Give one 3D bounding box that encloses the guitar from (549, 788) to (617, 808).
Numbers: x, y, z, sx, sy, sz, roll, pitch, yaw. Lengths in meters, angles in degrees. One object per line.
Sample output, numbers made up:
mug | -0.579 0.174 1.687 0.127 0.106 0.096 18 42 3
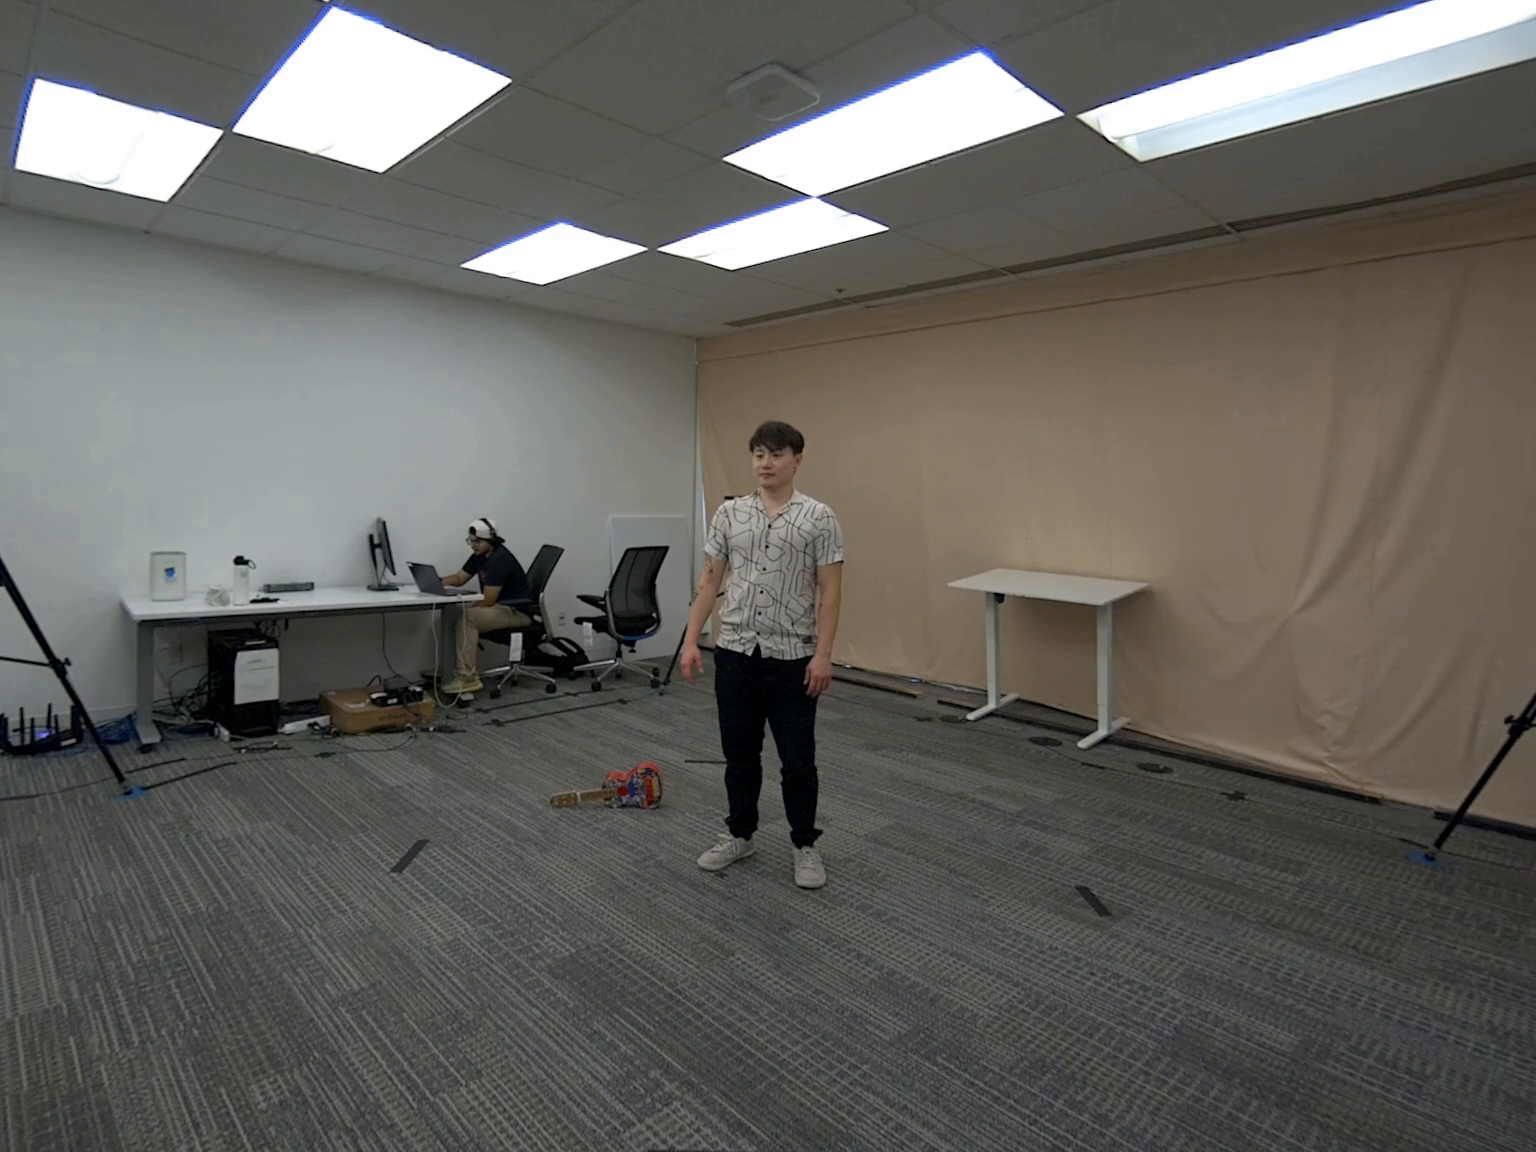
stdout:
guitar | -0.732 0.943 3.766 0.497 0.192 0.071 1 8 -1
